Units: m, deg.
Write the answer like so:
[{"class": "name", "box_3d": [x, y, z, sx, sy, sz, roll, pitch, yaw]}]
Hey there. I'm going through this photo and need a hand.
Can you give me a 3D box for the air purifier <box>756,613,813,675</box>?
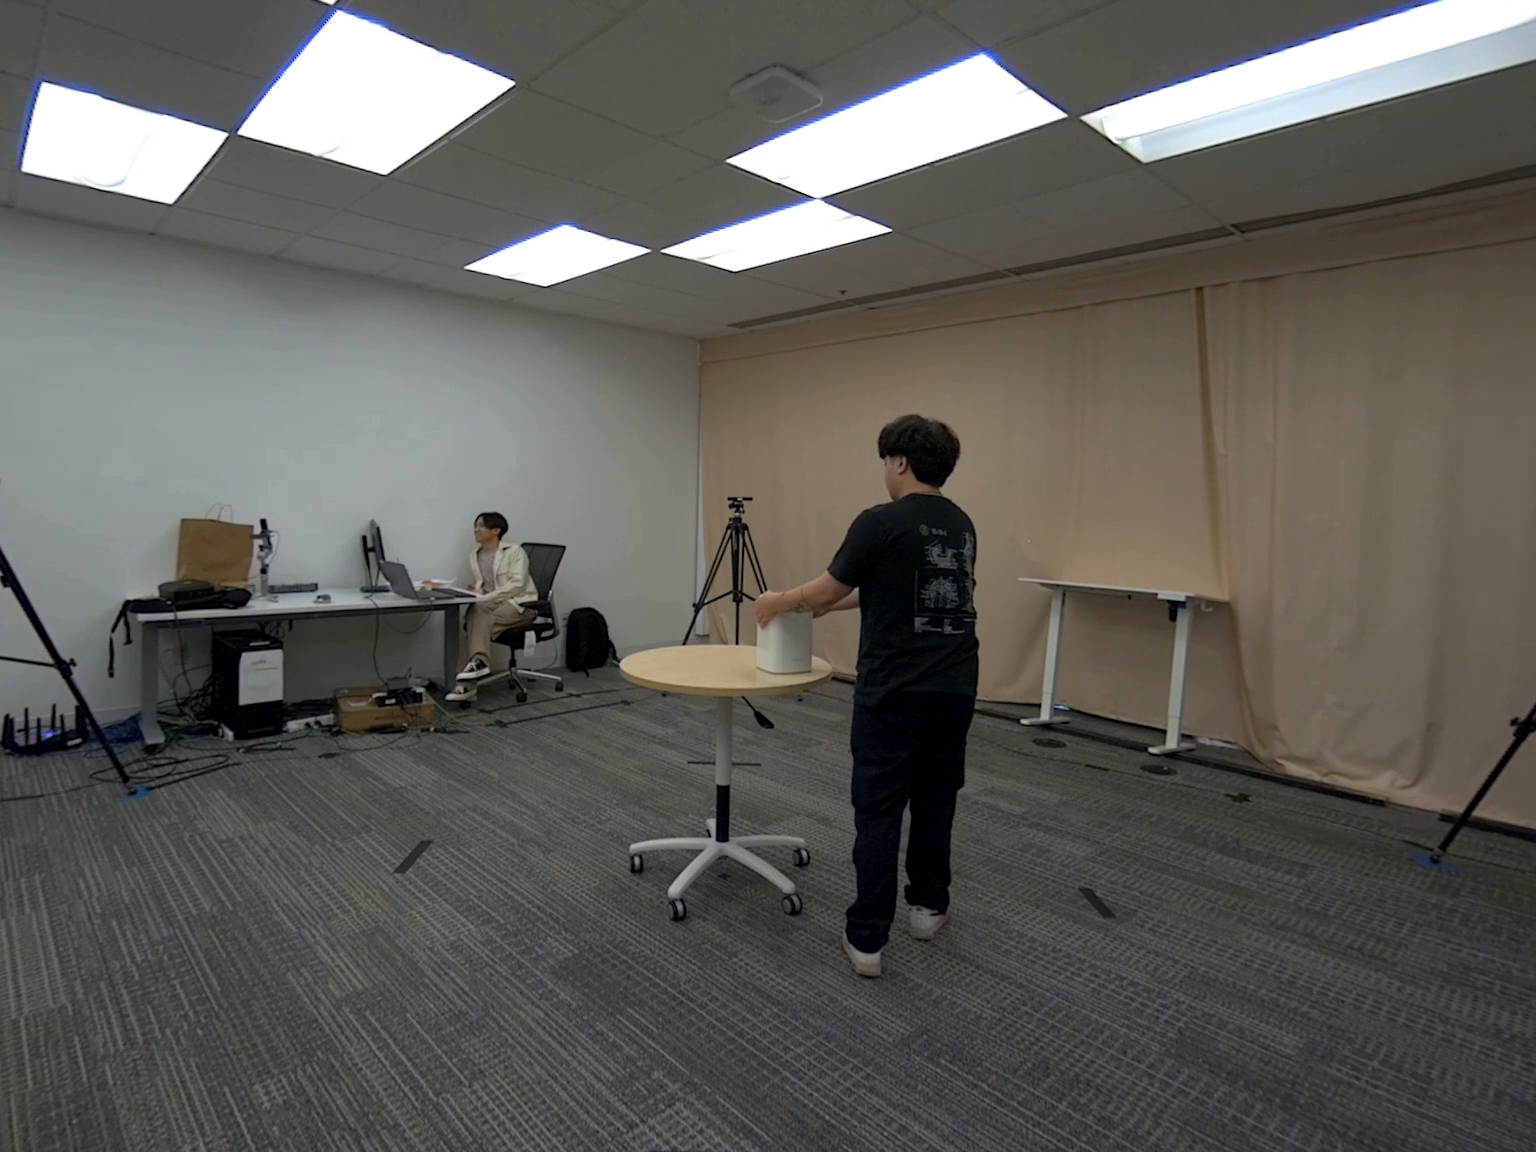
[{"class": "air purifier", "box_3d": [0.052, 0.199, 2.973, 0.168, 0.264, 0.175, 2, 5, -24]}]
